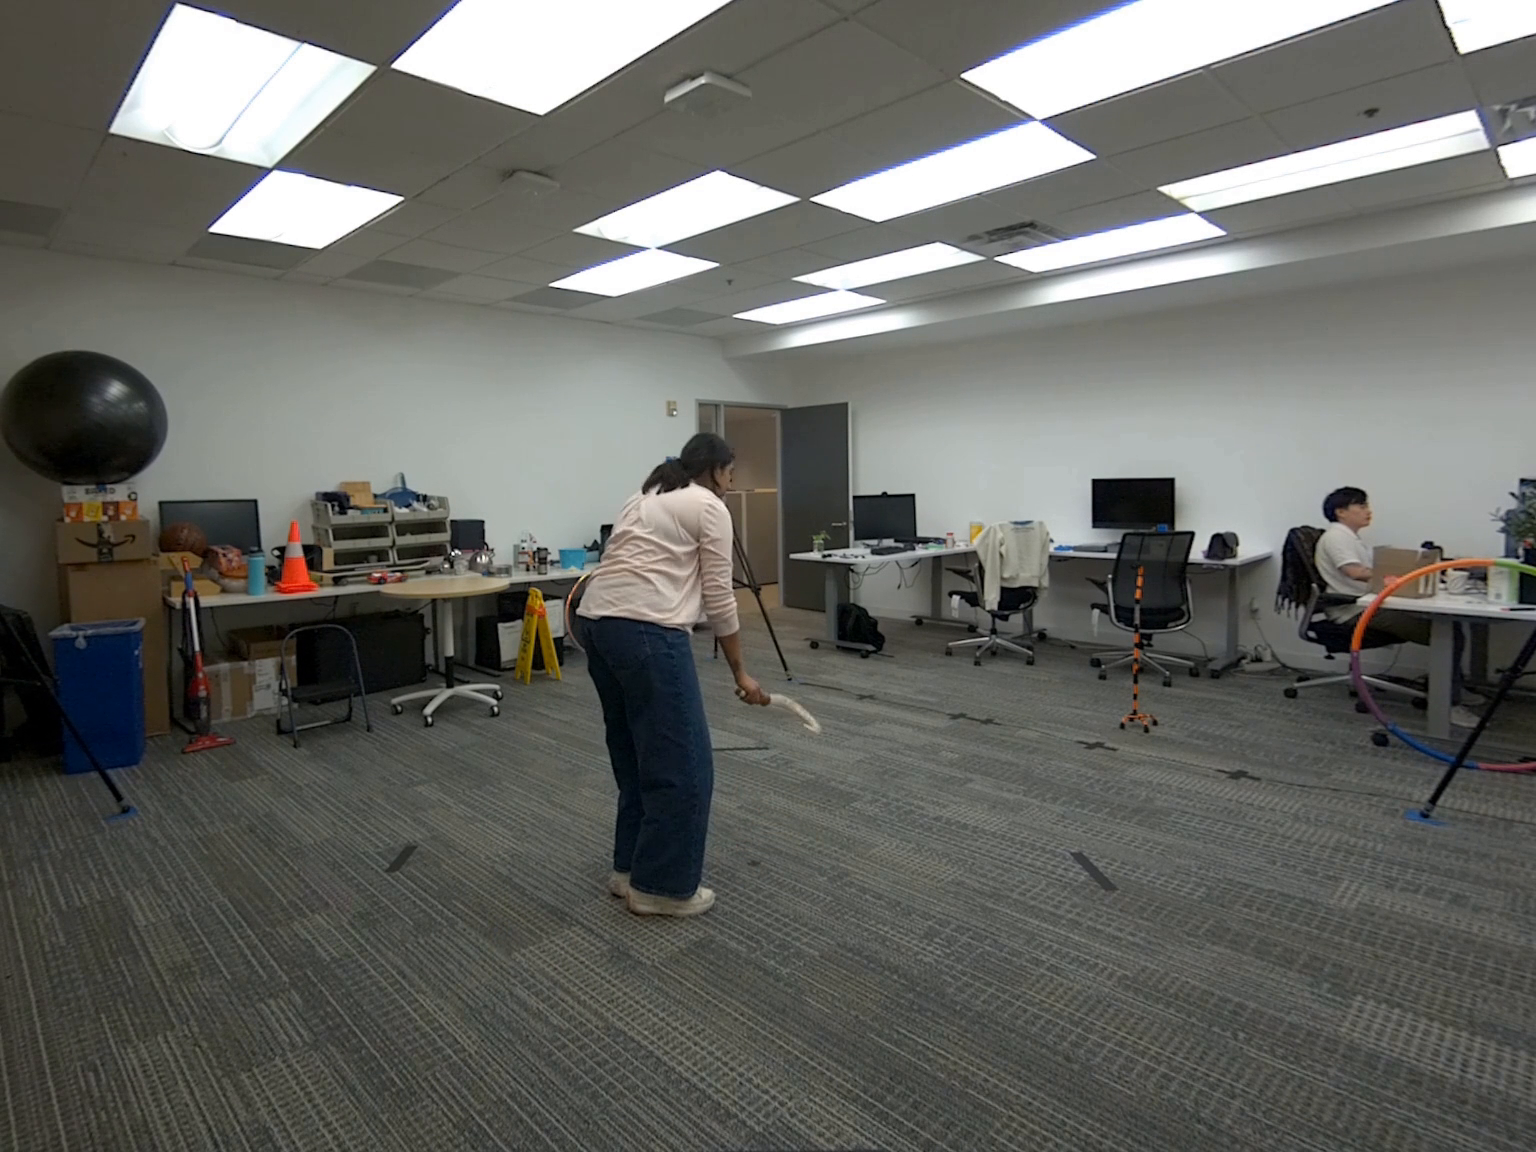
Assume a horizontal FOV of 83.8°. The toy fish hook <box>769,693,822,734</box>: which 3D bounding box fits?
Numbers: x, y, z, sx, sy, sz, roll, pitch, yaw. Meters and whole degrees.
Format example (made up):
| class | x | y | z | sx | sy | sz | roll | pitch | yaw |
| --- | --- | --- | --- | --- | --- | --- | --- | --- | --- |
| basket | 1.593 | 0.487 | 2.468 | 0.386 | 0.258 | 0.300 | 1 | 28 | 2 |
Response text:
| class | x | y | z | sx | sy | sz | roll | pitch | yaw |
| --- | --- | --- | --- | --- | --- | --- | --- | --- | --- |
| toy fish hook | 0.057 | 0.485 | 3.068 | 0.233 | 0.048 | 0.489 | 33 | 3 | 33 |
